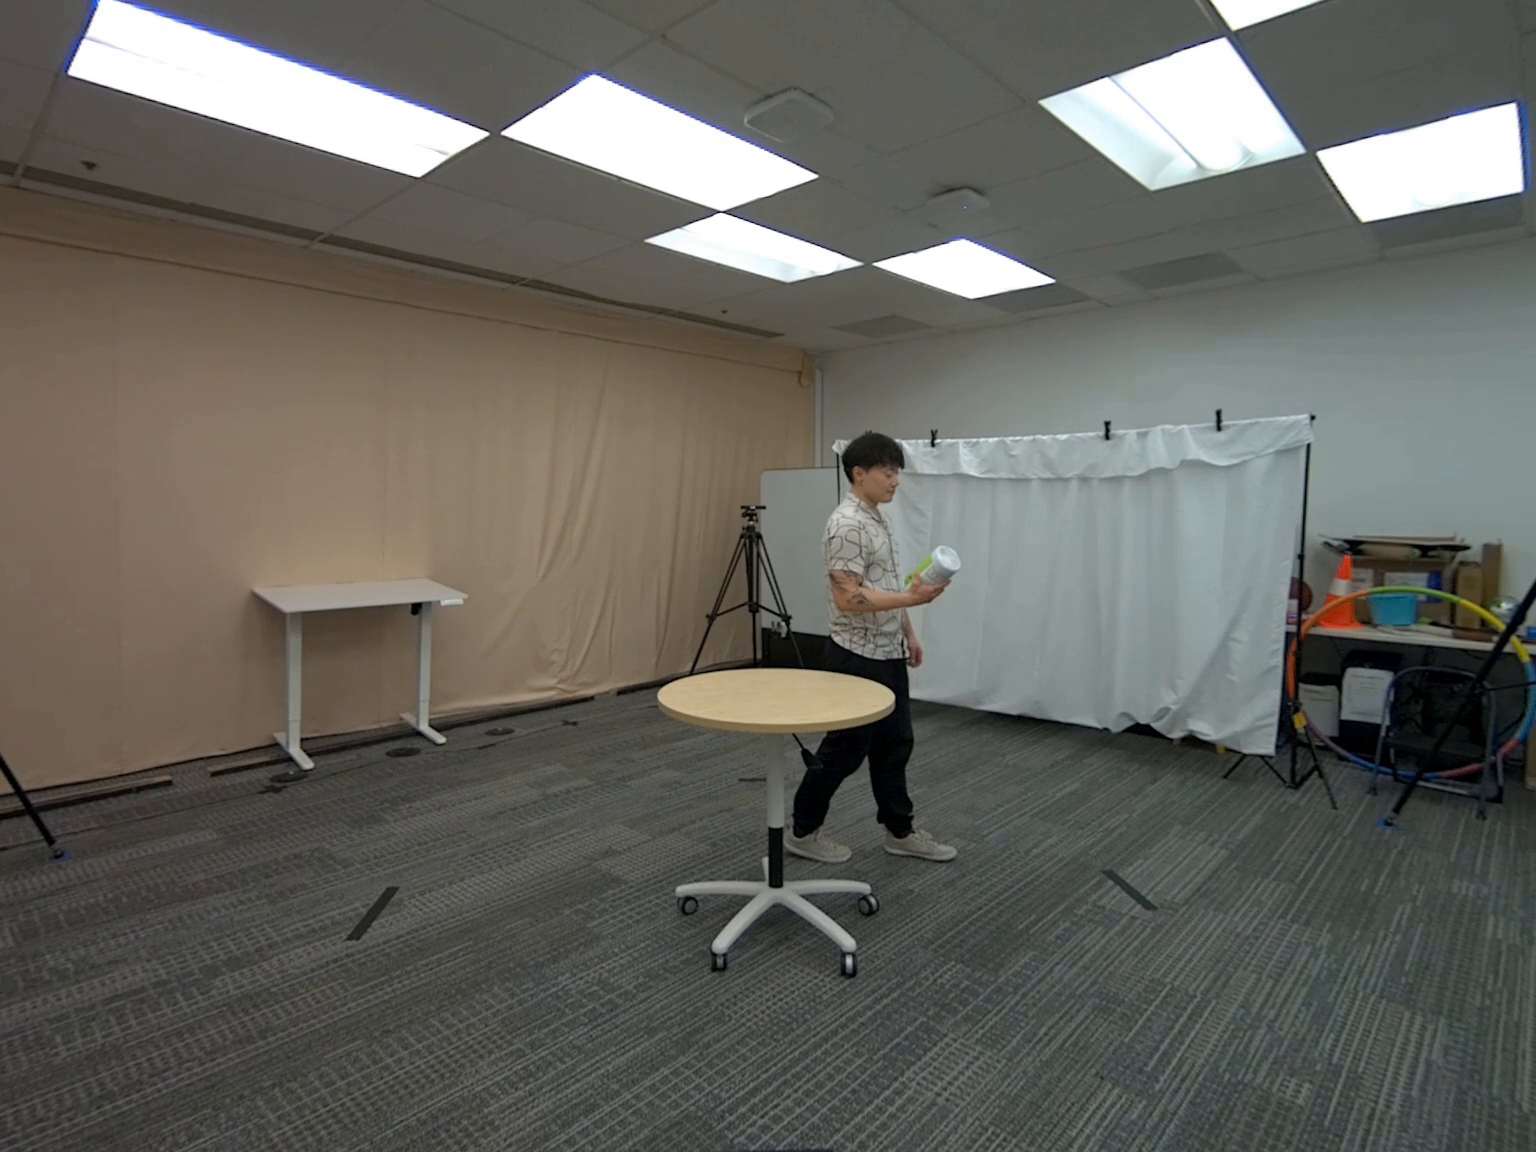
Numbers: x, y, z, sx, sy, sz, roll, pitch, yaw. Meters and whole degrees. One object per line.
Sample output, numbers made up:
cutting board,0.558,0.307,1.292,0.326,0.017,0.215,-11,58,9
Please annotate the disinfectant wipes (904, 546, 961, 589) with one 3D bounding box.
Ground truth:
disinfectant wipes,0.578,-0.003,2.998,0.114,0.120,0.218,-2,-33,-37
